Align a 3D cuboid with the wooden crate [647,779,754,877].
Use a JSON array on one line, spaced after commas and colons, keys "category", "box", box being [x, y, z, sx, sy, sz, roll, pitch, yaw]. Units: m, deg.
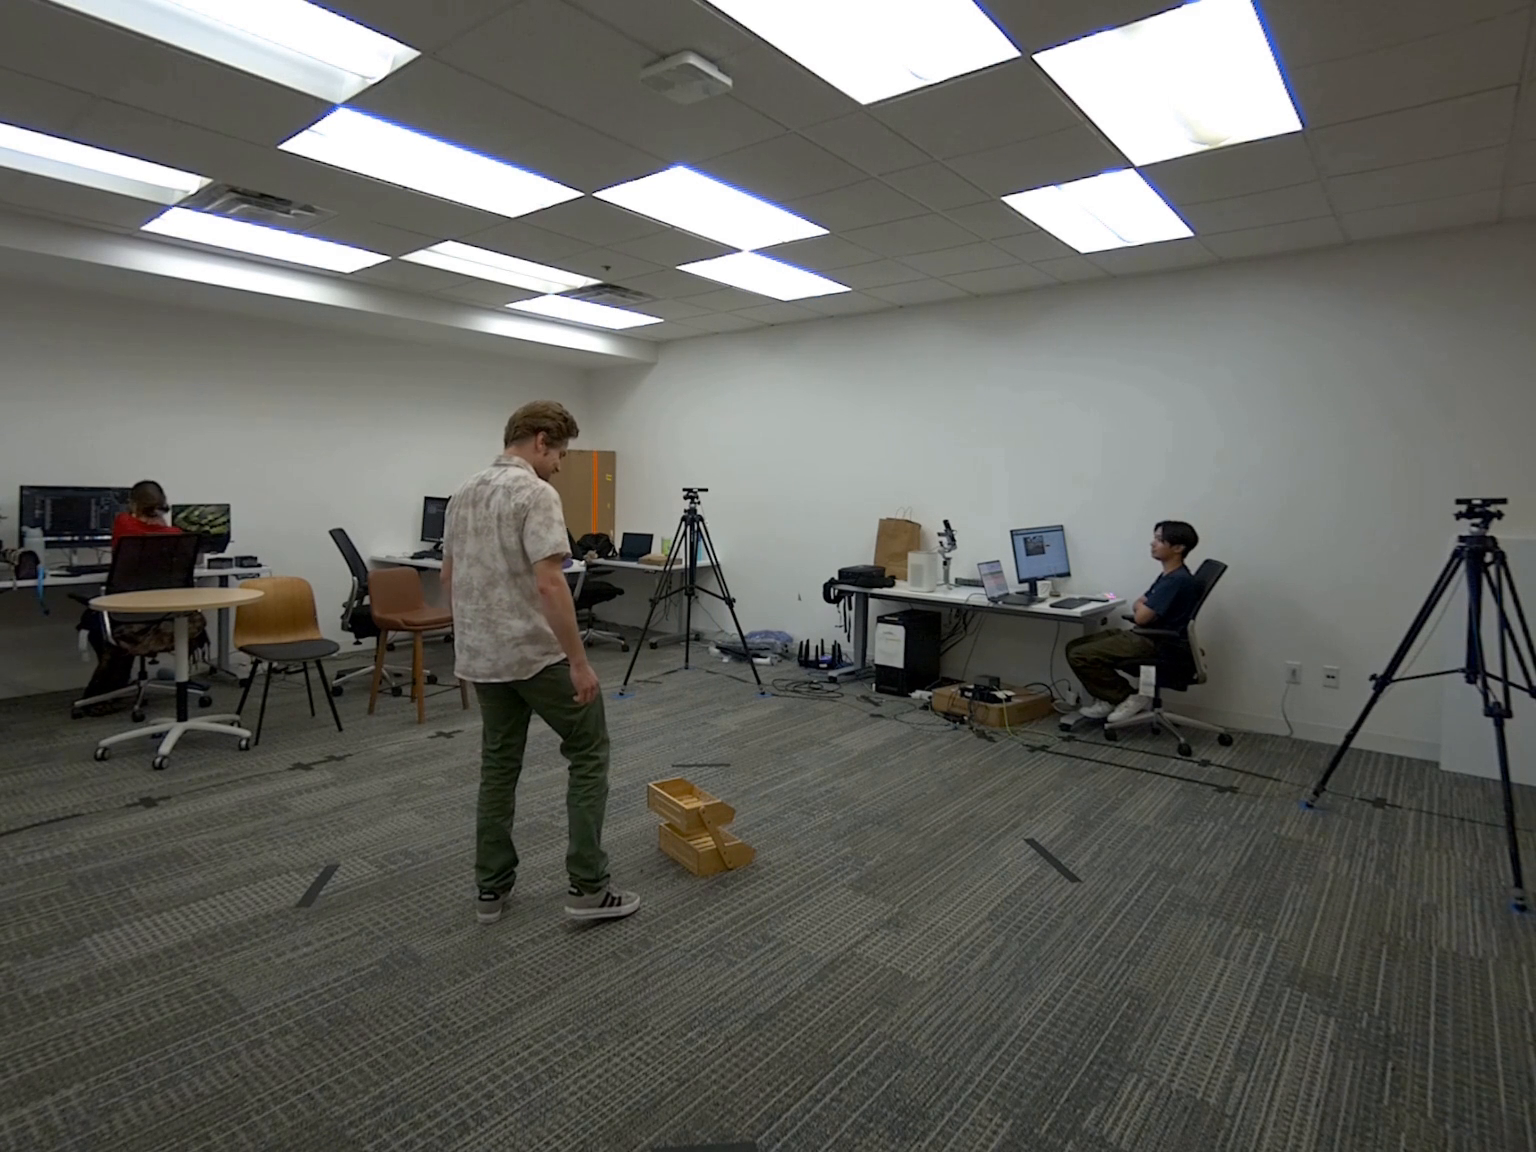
[{"category": "wooden crate", "box": [-0.260, 0.925, 3.217, 0.293, 0.272, 0.335, -3, 6, -35]}]
